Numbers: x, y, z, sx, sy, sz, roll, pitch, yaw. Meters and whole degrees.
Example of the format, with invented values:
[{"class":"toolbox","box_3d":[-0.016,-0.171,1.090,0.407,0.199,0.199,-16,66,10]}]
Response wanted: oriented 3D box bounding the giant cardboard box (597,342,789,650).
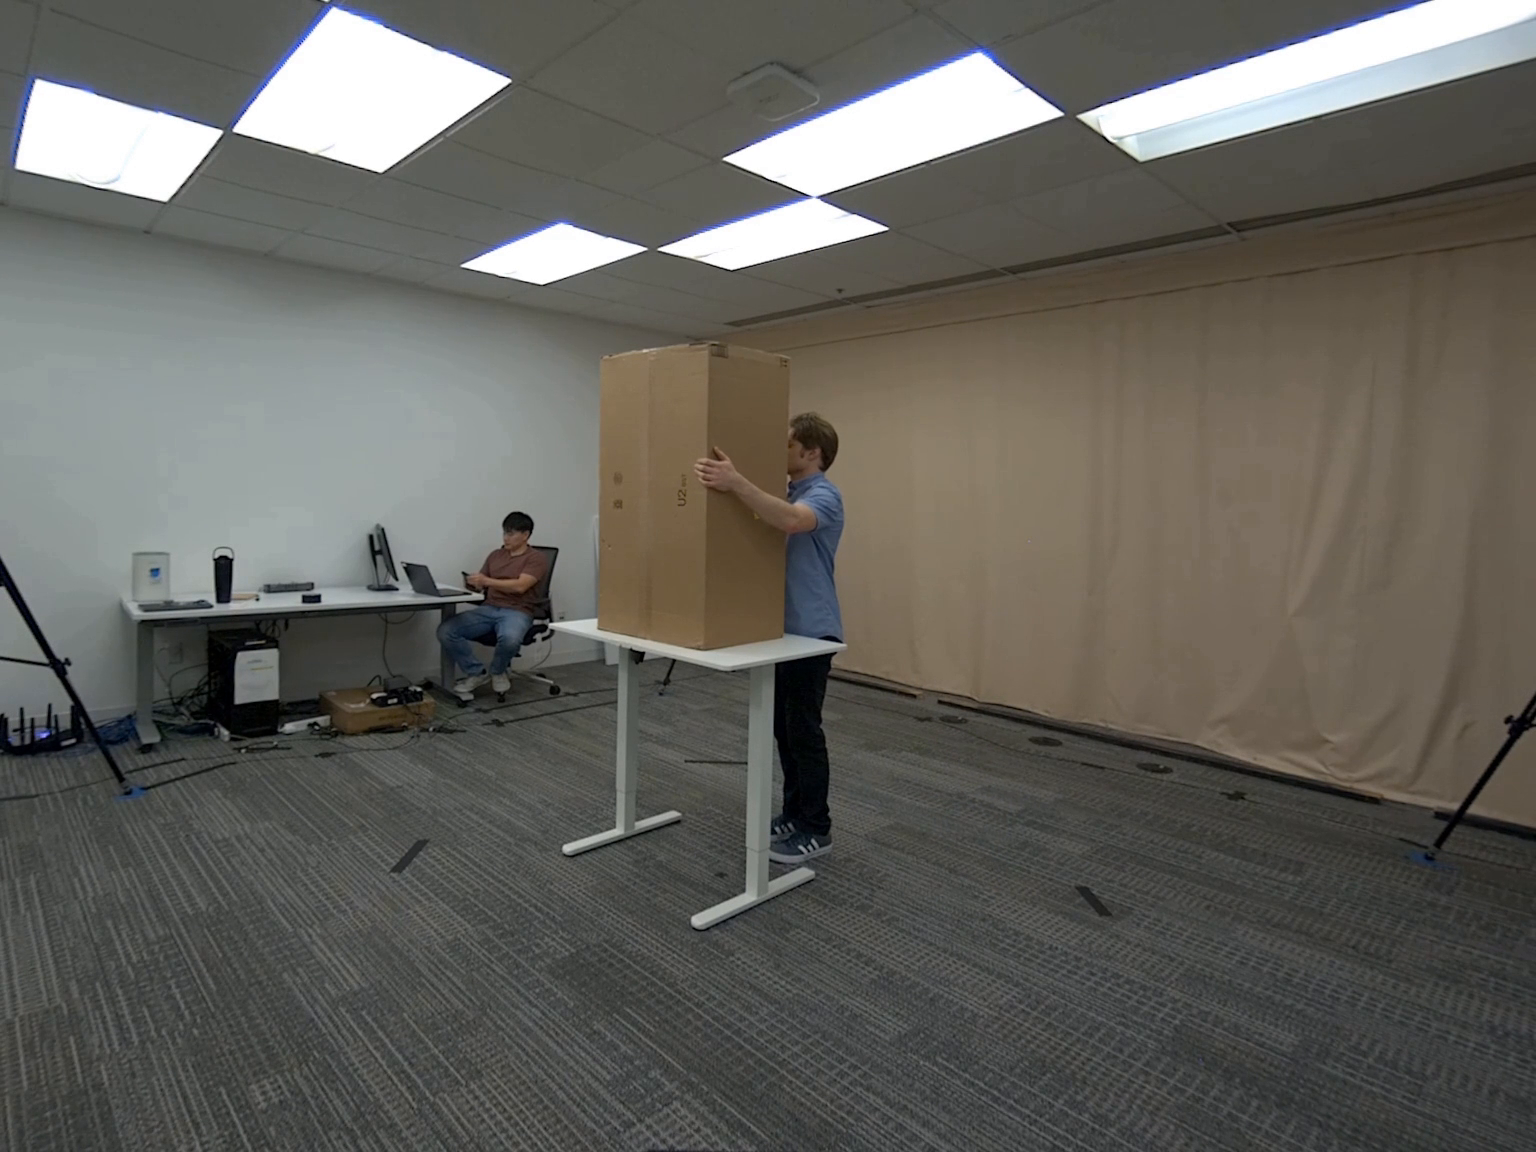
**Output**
[{"class":"giant cardboard box","box_3d":[-0.287,-0.292,3.108,0.592,1.023,0.416,5,5,42]}]
